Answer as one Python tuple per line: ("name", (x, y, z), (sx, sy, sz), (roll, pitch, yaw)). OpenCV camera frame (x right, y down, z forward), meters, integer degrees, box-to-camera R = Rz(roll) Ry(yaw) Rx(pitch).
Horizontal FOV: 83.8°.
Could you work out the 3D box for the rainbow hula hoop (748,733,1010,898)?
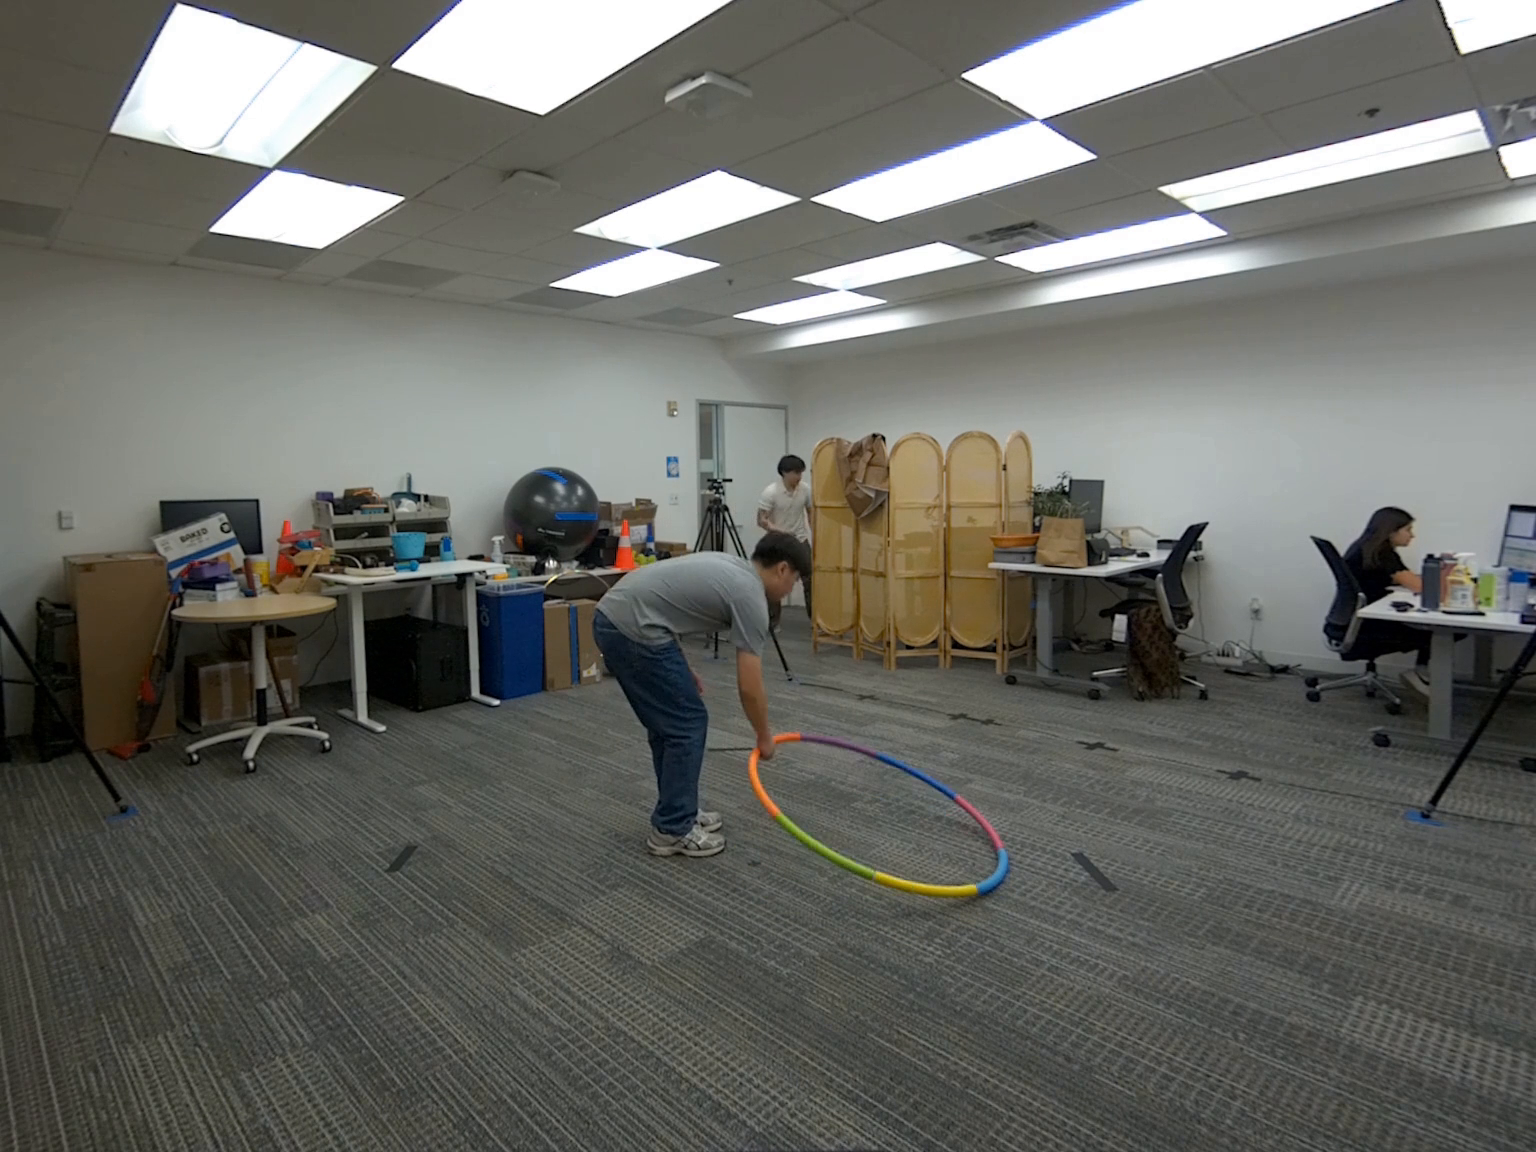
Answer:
("rainbow hula hoop", (0.396, 0.837, 3.192), (0.974, 0.035, 0.992), (15, 14, -5))
